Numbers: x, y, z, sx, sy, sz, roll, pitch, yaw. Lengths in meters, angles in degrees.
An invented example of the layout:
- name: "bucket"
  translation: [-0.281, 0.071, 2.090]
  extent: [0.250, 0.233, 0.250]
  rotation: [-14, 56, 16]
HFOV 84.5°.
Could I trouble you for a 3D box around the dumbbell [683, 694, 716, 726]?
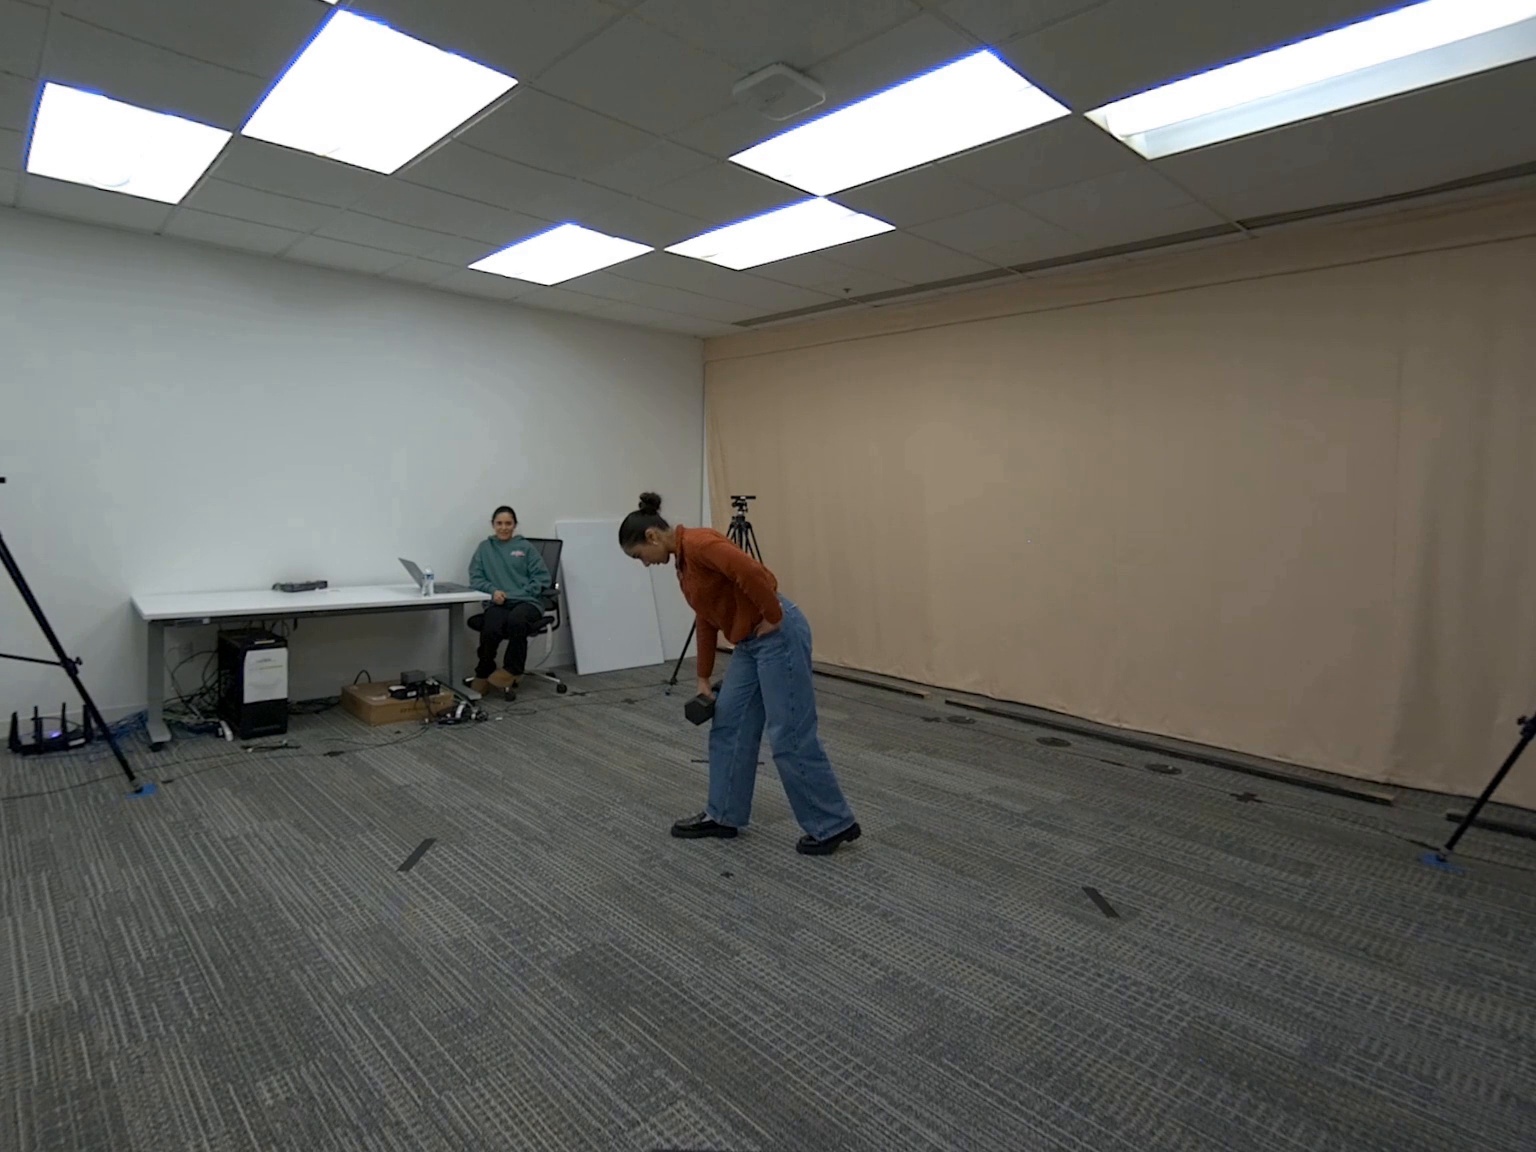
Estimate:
- name: "dumbbell"
  translation: [-0.247, 0.524, 3.517]
  extent: [0.110, 0.122, 0.290]
  rotation: [-2, 8, 21]
